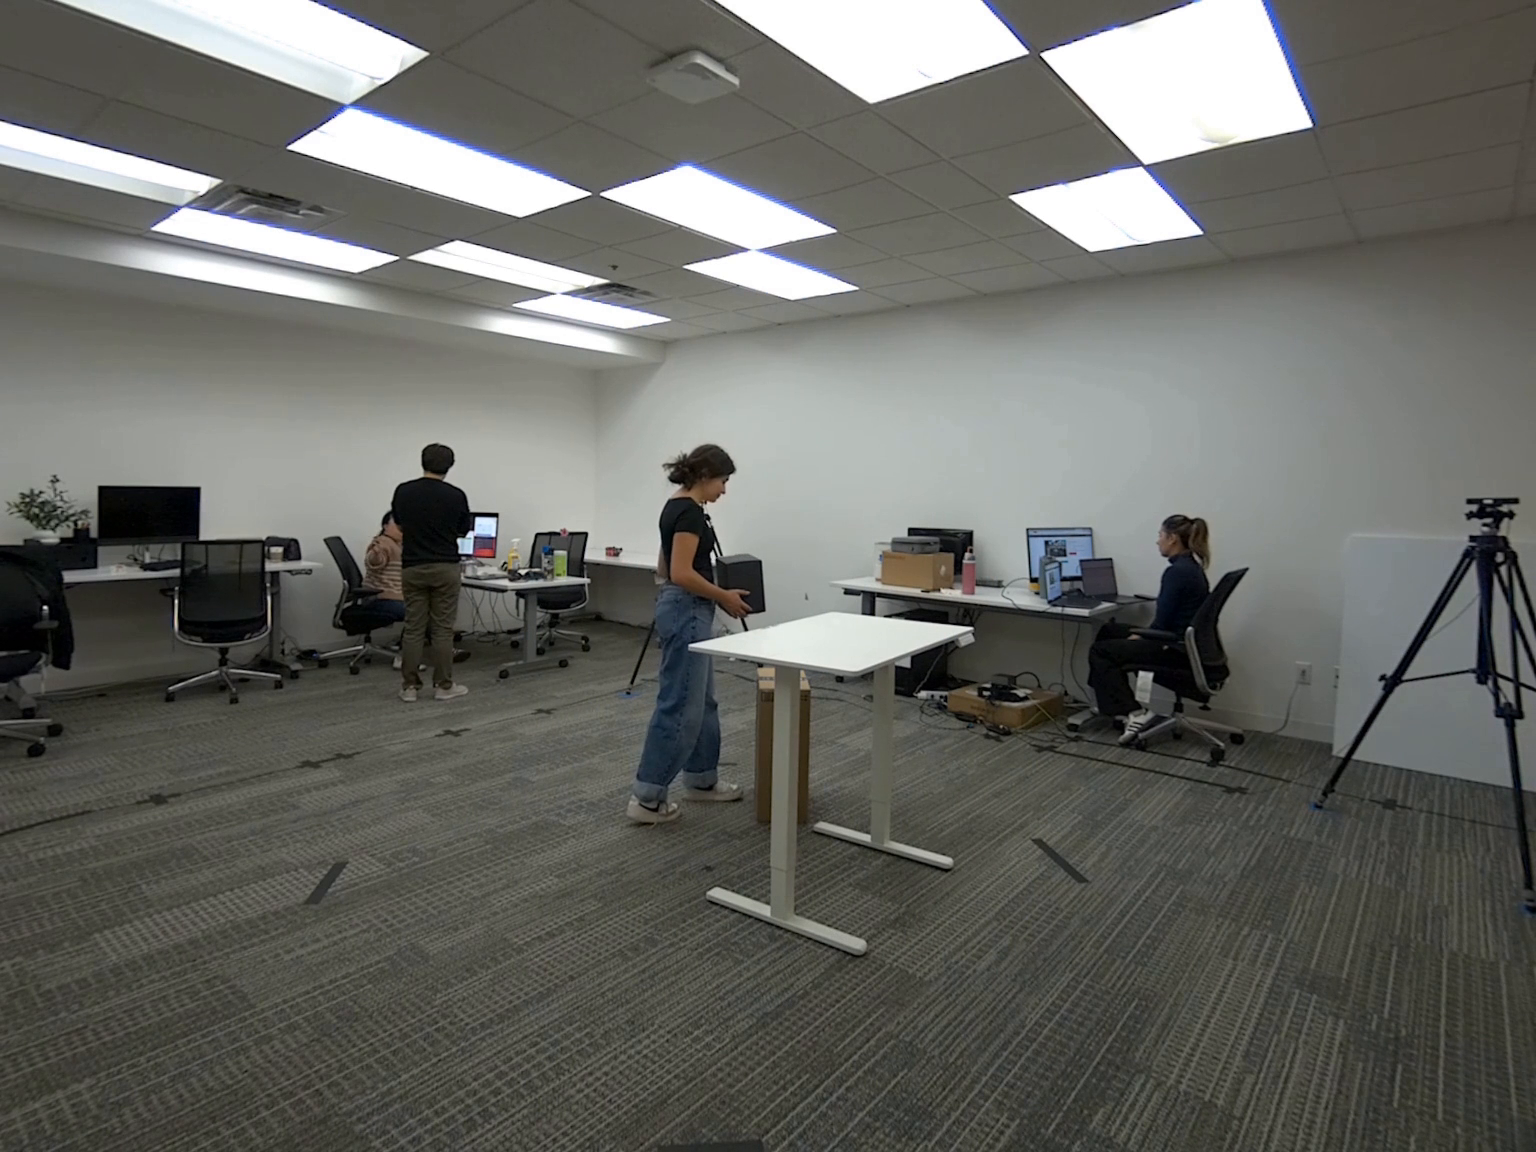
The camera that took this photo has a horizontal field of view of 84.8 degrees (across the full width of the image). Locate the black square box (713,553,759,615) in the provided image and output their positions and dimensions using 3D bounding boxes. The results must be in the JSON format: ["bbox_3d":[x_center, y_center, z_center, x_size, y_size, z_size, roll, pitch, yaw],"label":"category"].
[{"bbox_3d":[-0.144,0.029,3.692,0.155,0.226,0.220,-4,7,-7],"label":"black square box"}]
